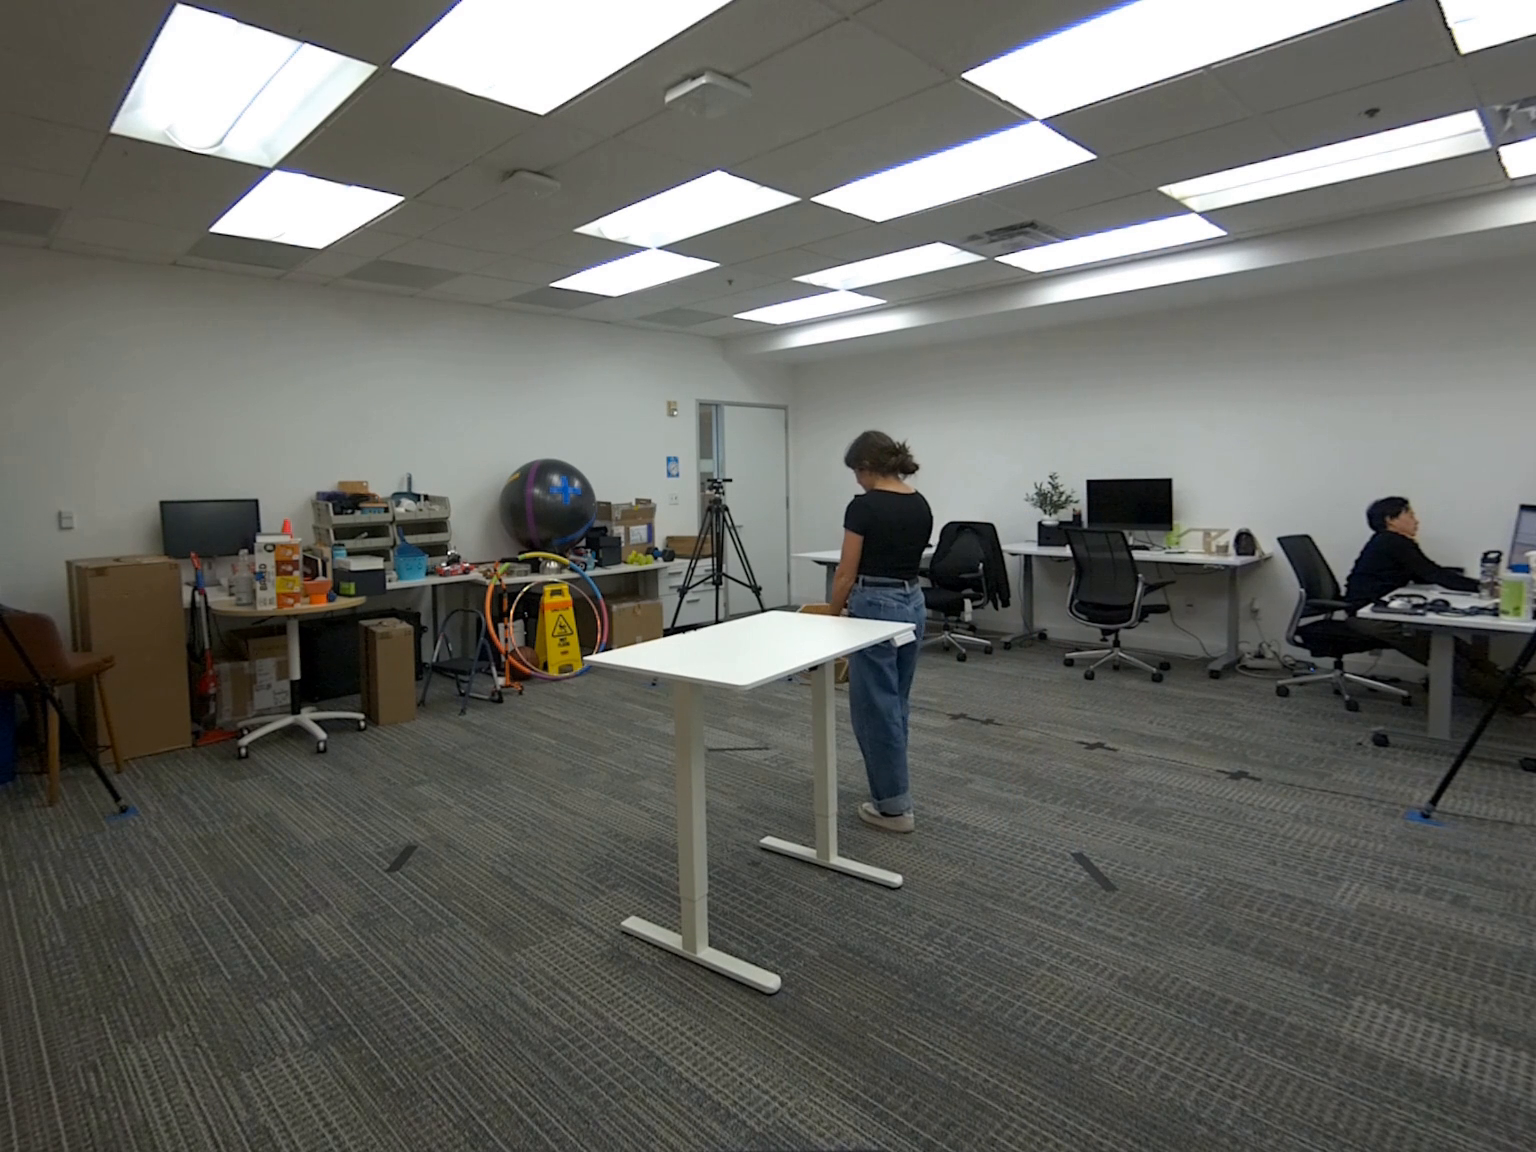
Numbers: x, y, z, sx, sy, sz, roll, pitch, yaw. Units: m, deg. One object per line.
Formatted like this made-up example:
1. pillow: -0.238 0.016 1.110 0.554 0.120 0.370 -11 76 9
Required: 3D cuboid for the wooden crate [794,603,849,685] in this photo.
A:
1. wooden crate: 0.244 0.279 3.620 0.293 0.272 0.336 0 10 -41
